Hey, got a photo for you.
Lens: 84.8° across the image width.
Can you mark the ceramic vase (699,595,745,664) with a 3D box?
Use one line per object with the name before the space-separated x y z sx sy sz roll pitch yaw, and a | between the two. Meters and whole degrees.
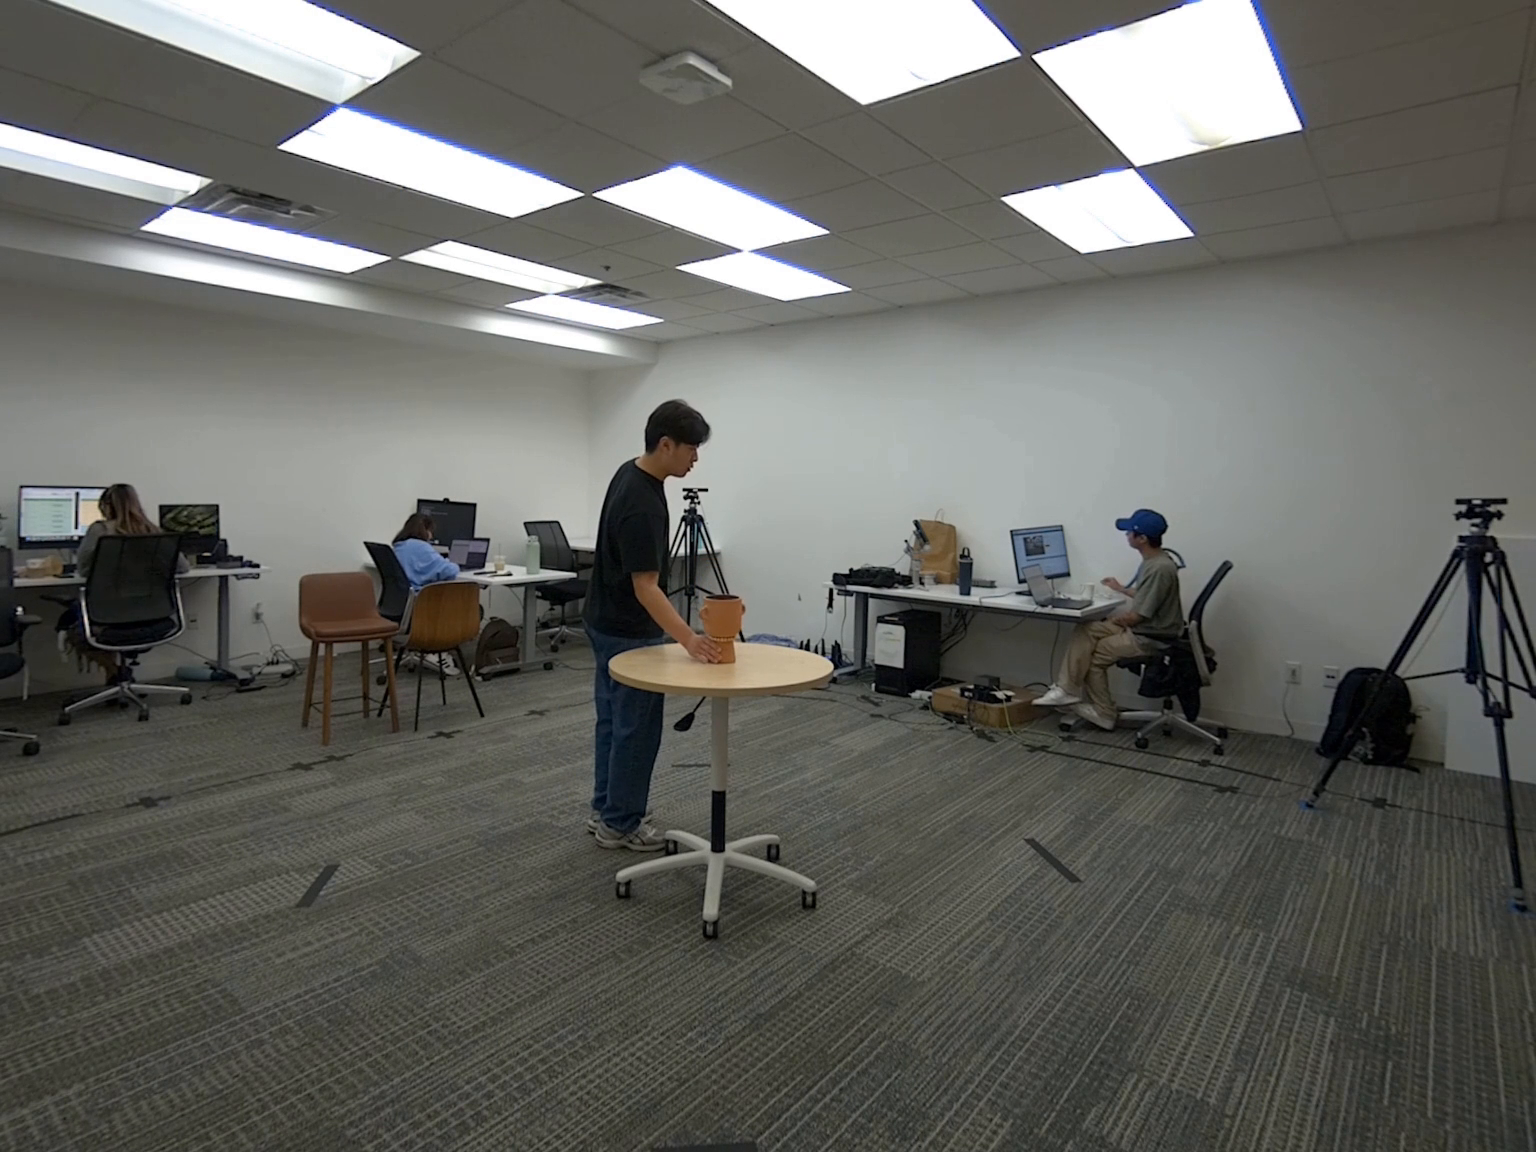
ceramic vase | -0.167 0.183 2.926 0.159 0.219 0.135 3 5 2
